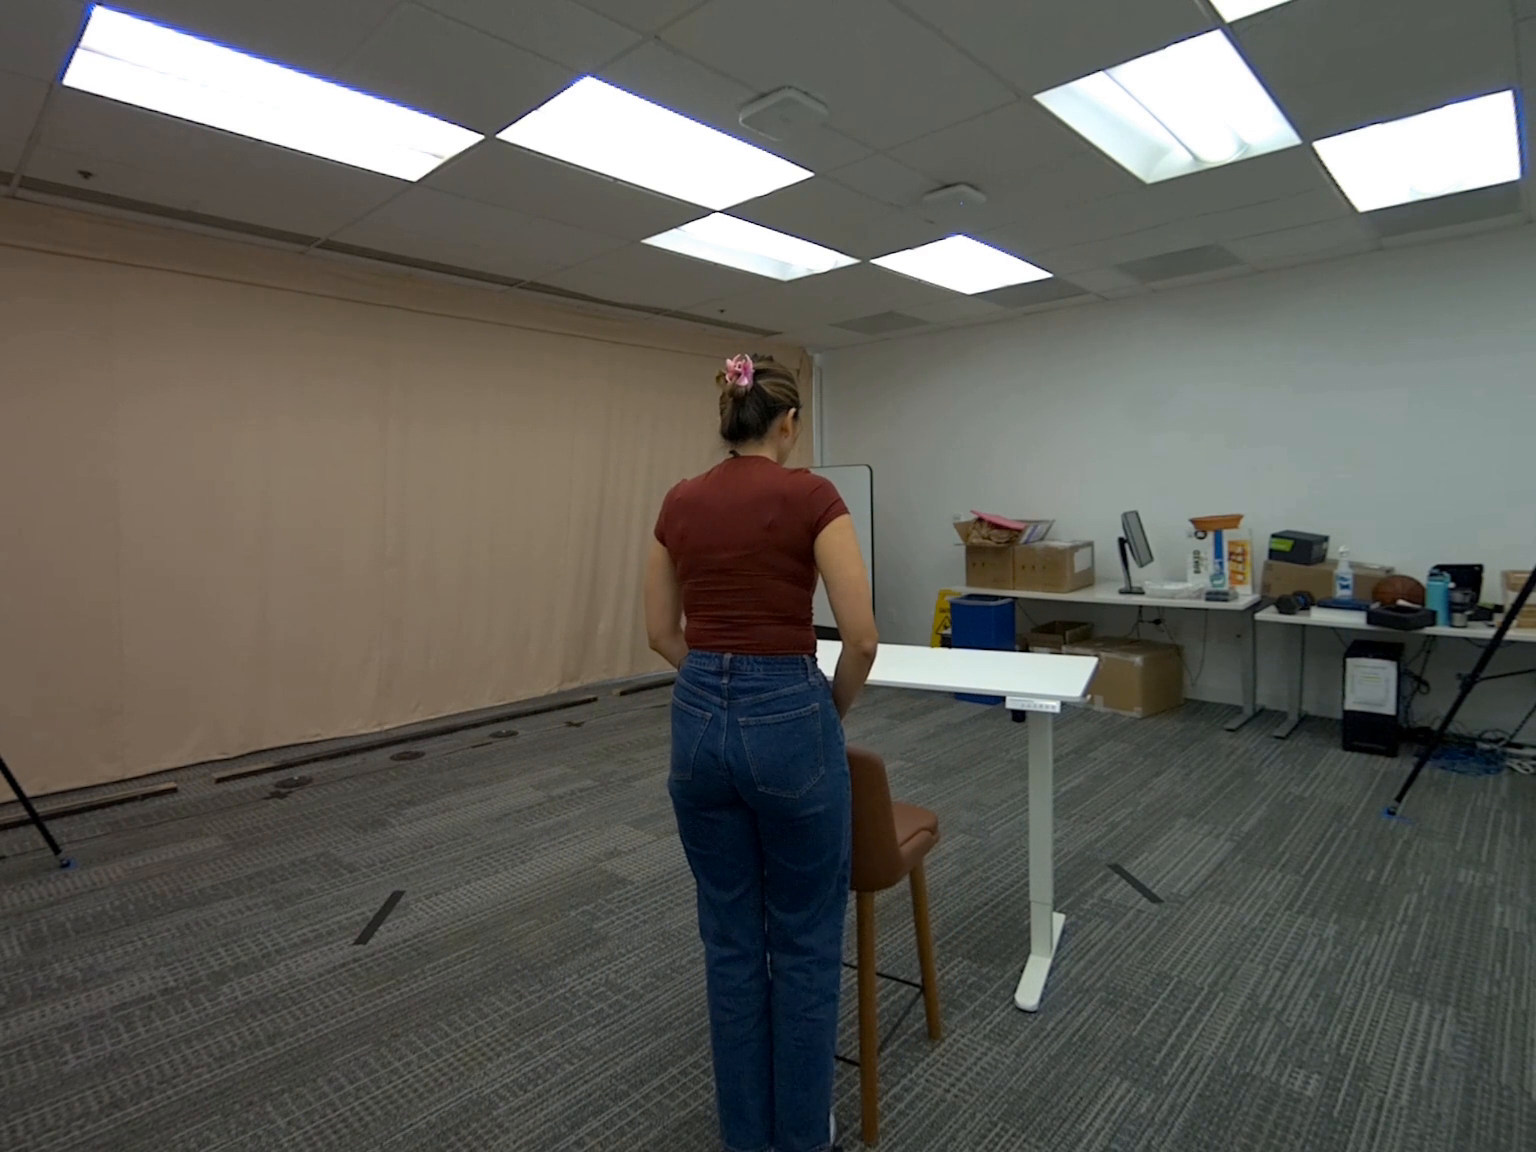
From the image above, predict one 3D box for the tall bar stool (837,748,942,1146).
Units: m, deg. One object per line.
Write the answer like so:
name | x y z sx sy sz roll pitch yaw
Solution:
tall bar stool | 0.165 0.774 2.074 0.470 0.886 0.456 2 6 31
